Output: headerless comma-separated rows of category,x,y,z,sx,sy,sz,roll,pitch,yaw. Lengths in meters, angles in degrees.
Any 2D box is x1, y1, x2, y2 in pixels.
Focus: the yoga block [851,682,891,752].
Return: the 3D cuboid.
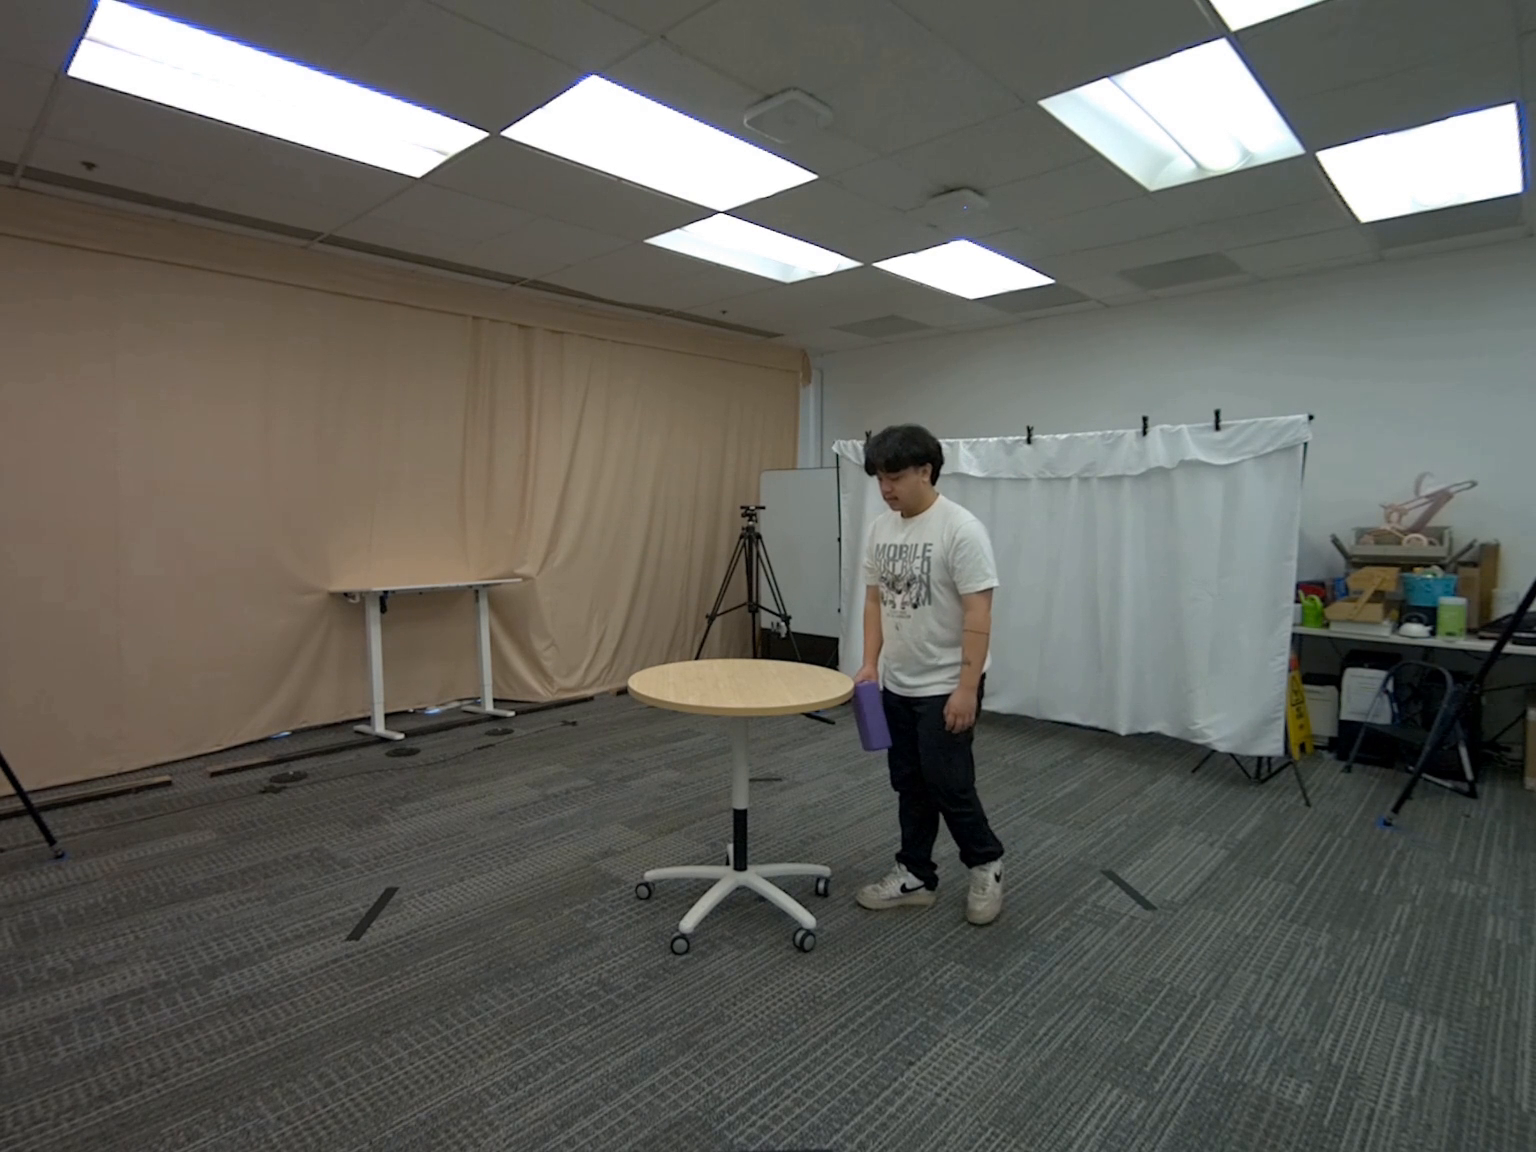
yoga block,0.362,0.497,2.923,0.076,0.231,0.149,-11,-7,-5
